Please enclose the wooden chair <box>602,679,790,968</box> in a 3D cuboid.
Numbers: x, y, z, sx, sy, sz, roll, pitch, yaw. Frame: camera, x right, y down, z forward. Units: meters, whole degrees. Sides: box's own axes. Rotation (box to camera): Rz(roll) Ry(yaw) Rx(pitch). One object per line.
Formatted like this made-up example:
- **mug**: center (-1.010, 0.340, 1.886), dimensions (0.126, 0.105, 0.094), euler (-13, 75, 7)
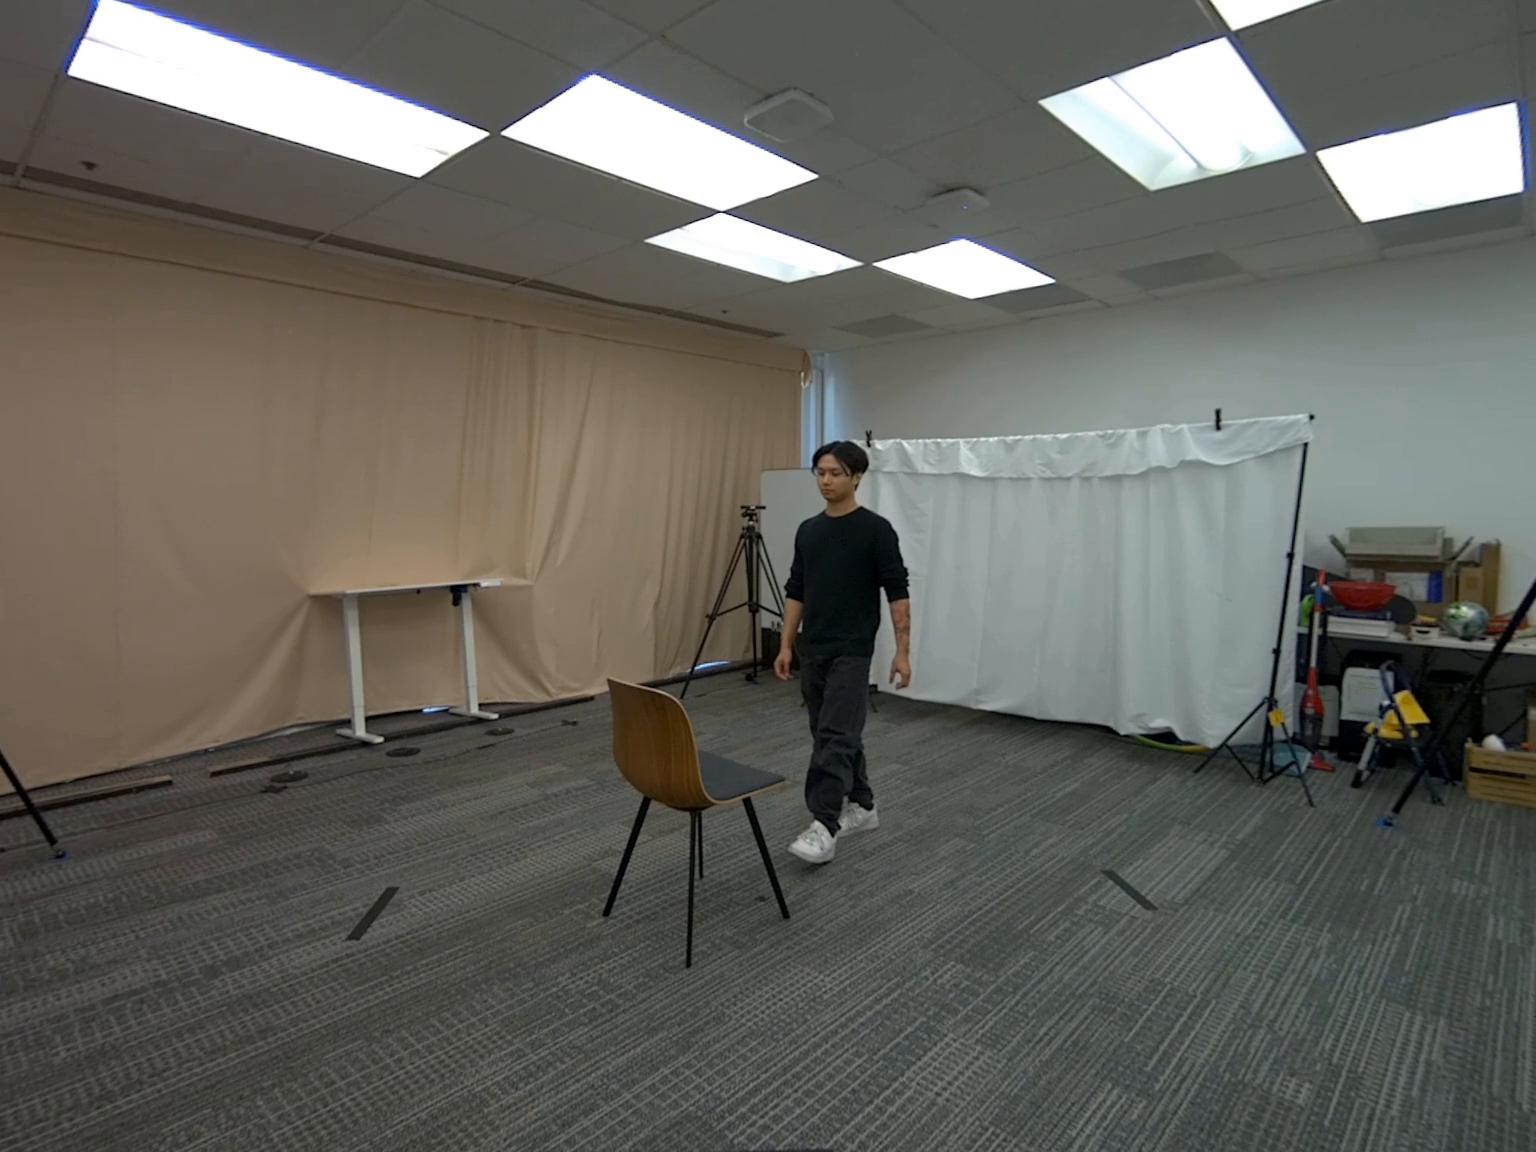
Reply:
- **wooden chair**: center (-0.238, 0.731, 2.828), dimensions (0.508, 0.874, 0.494), euler (-9, 8, -44)
